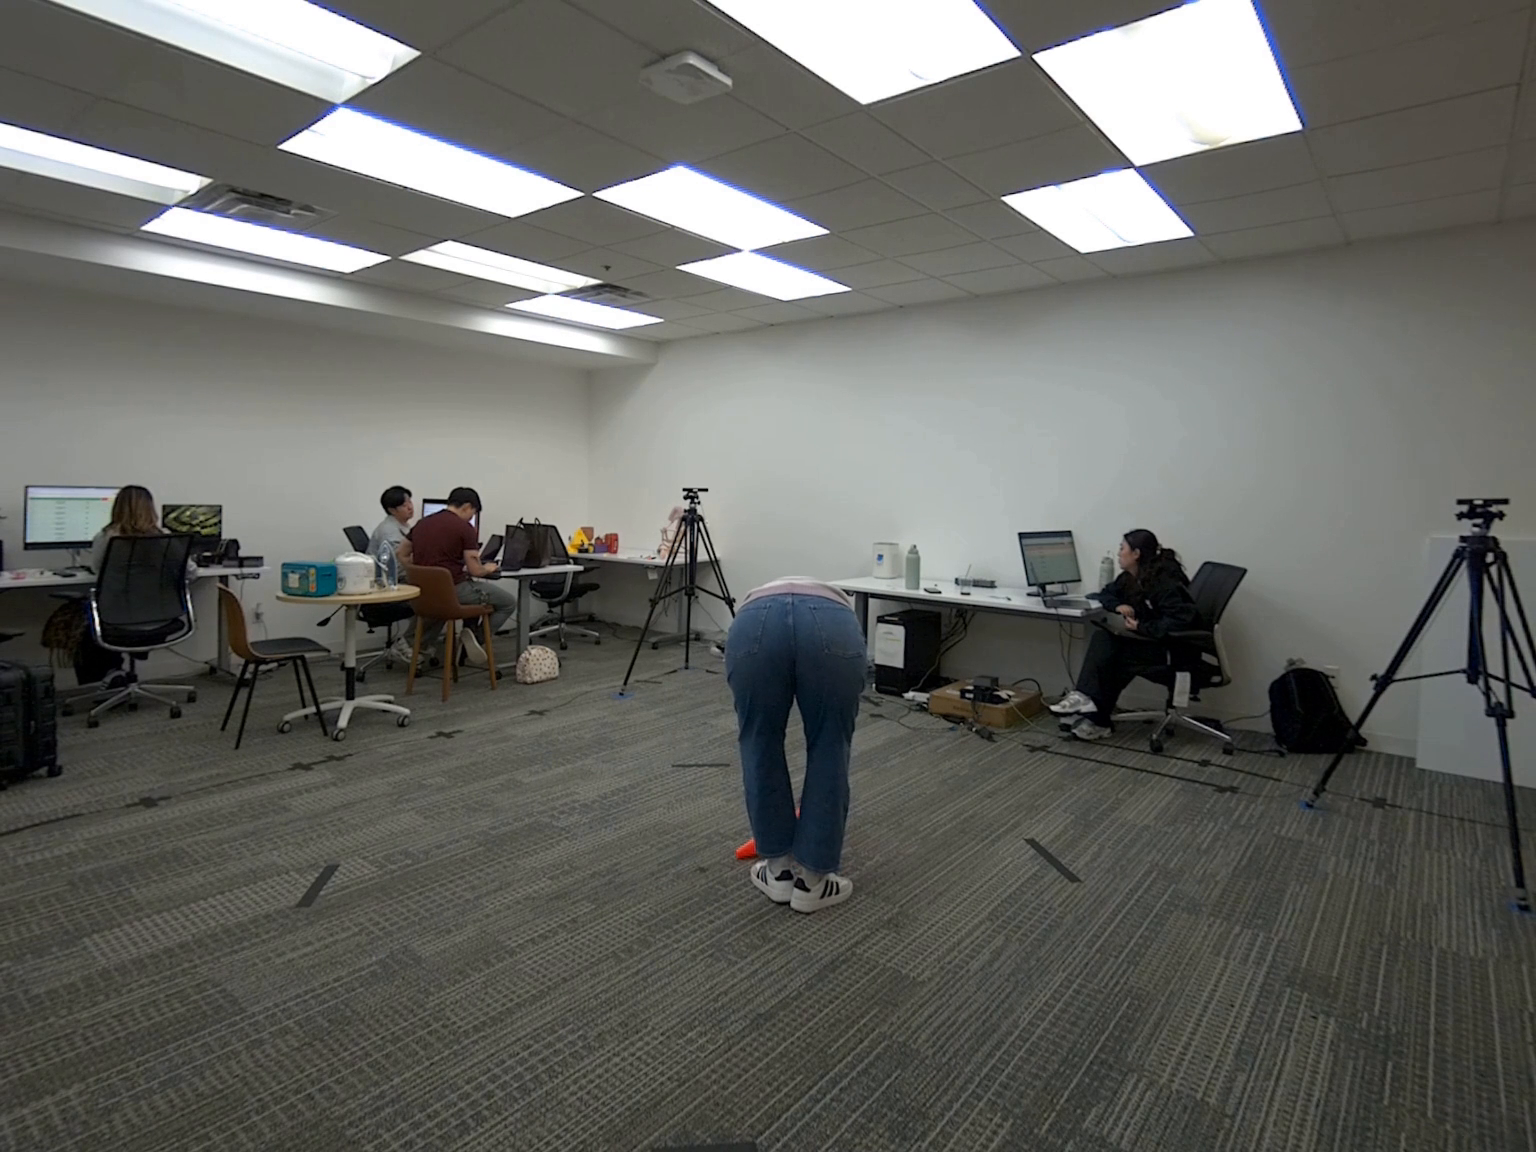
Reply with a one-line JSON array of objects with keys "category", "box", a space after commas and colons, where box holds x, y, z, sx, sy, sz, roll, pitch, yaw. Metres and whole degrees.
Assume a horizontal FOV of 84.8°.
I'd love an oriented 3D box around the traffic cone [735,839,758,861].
[{"category": "traffic cone", "box": [0.040, 1.001, 3.282, 0.377, 0.203, 0.209, -15, 10, -23]}]
